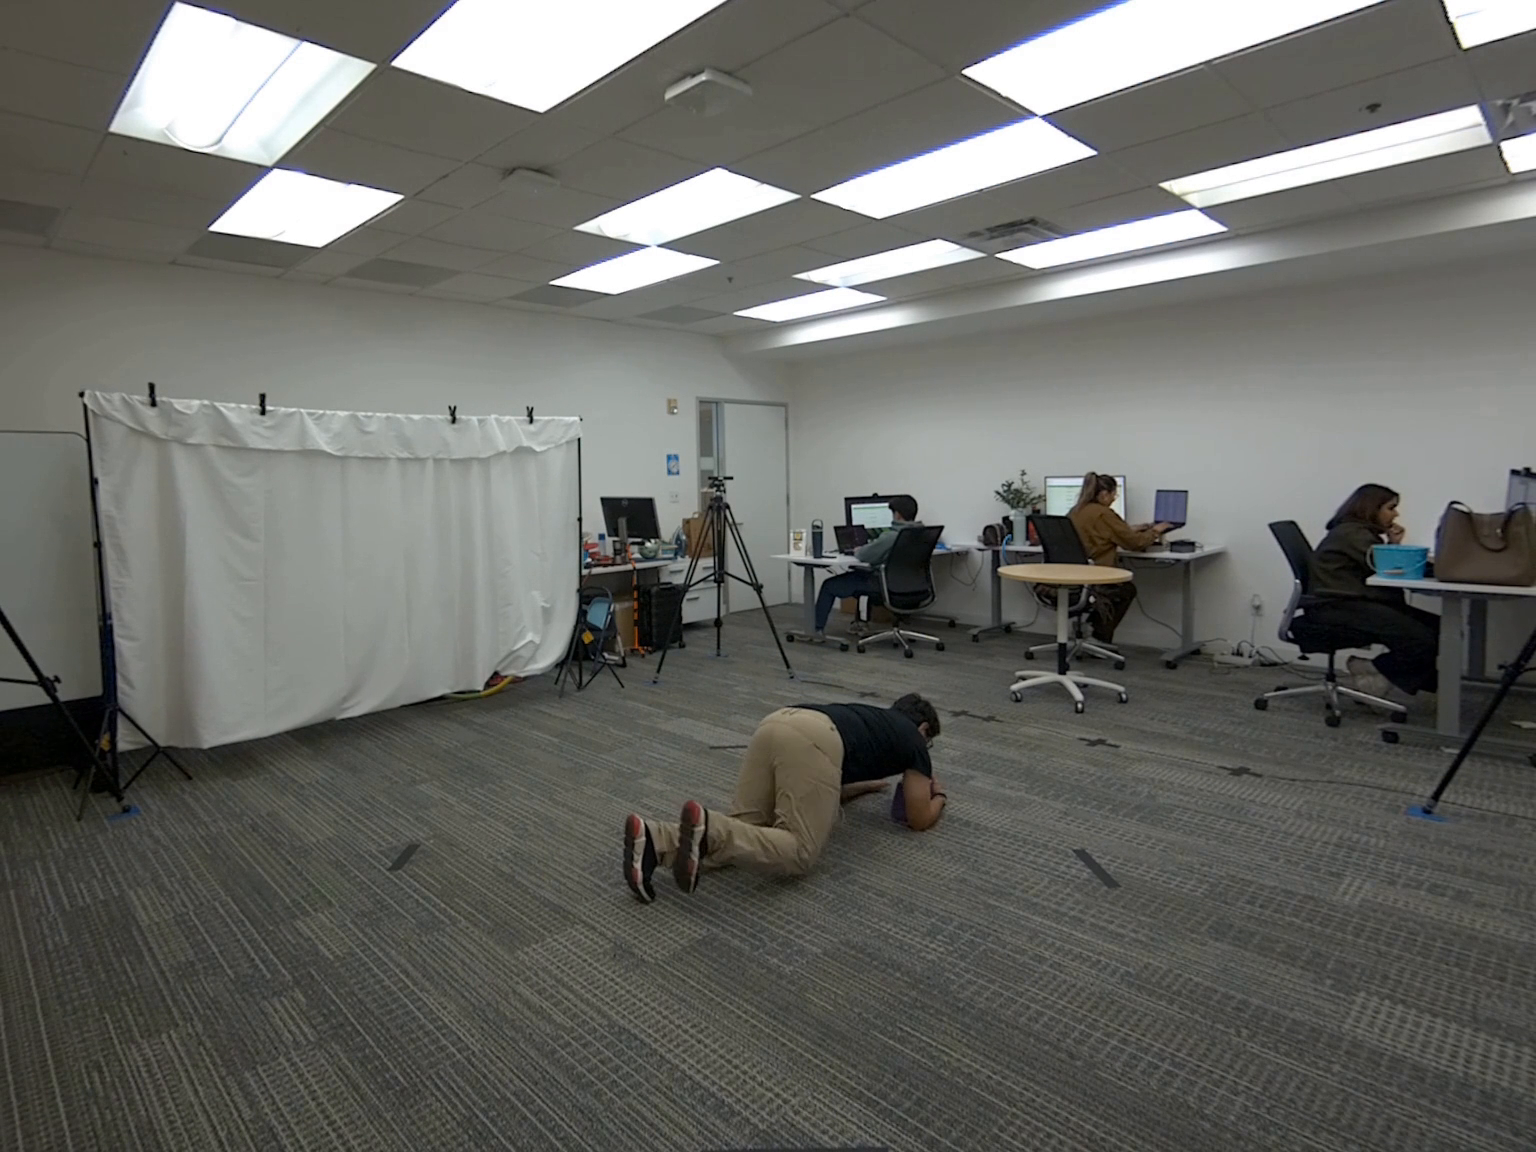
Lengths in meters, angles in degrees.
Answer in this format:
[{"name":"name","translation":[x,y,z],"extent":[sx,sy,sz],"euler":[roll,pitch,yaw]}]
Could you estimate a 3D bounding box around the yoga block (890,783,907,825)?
[{"name":"yoga block","translation":[0.595,0.894,3.532],"extent":[0.078,0.148,0.225],"euler":[10,10,26]}]
